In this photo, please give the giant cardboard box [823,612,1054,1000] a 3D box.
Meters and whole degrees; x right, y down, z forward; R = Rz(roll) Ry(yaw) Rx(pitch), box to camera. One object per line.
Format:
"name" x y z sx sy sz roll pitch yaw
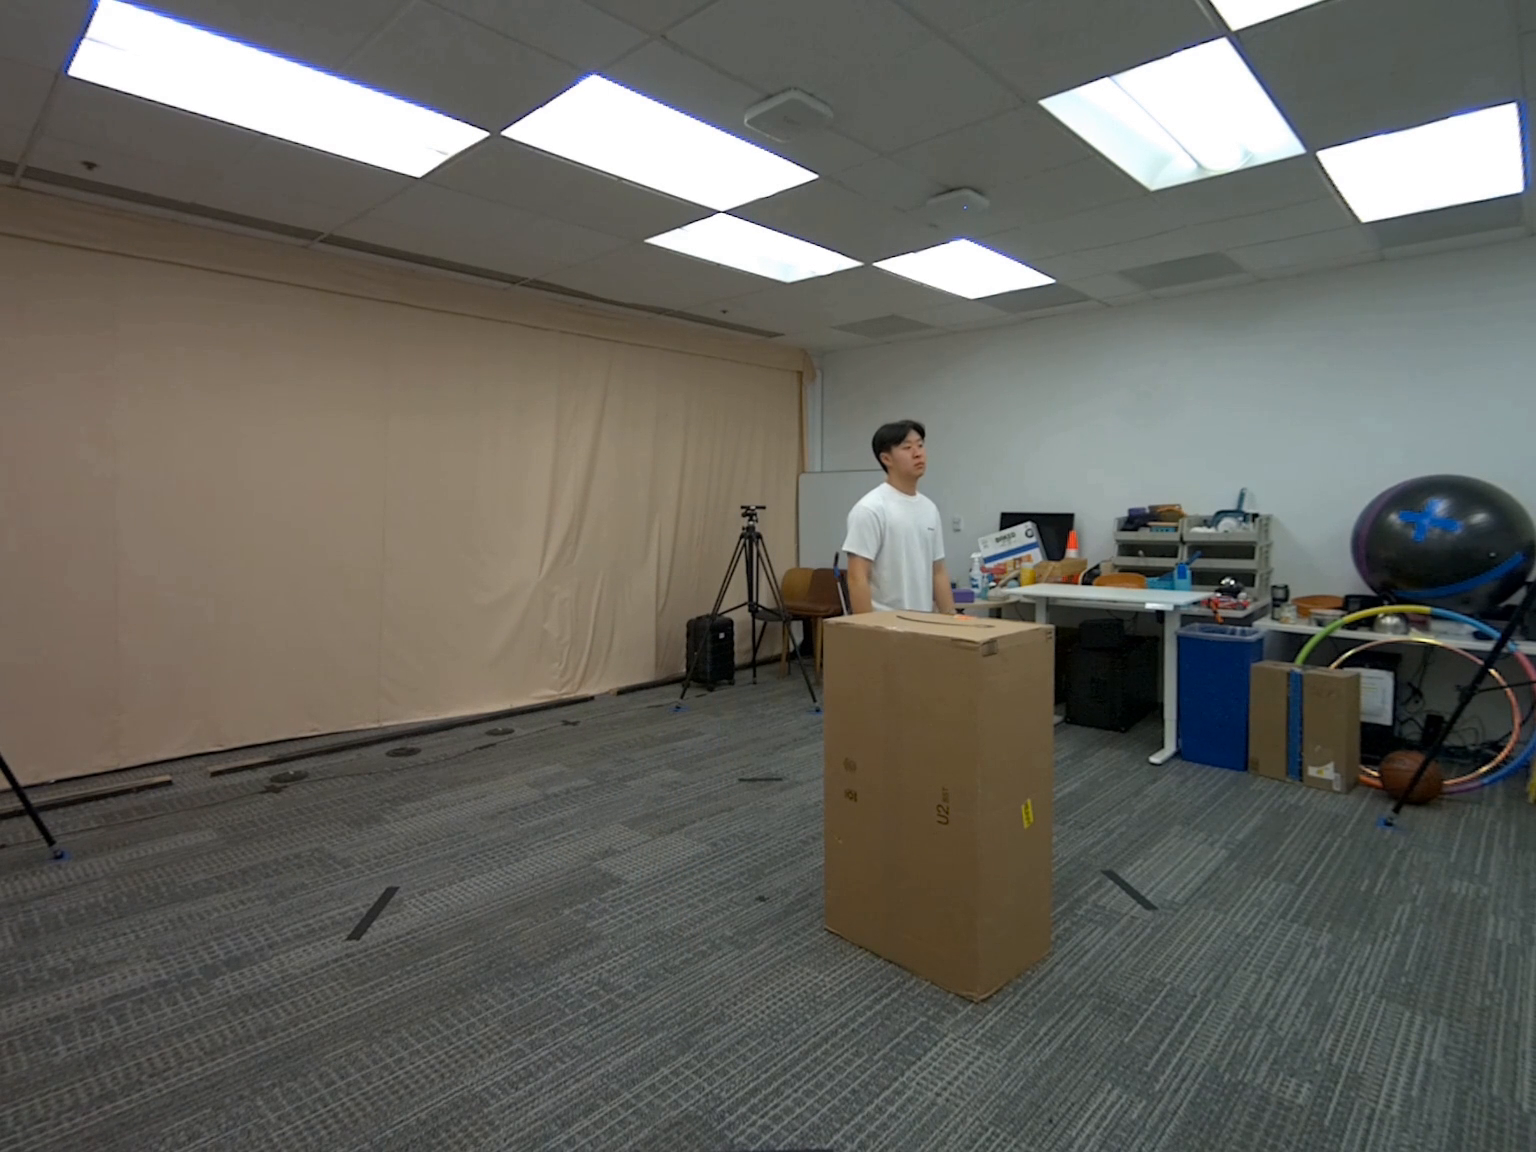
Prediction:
"giant cardboard box" 0.531 0.658 2.676 0.413 1.024 0.596 -3 4 -43
